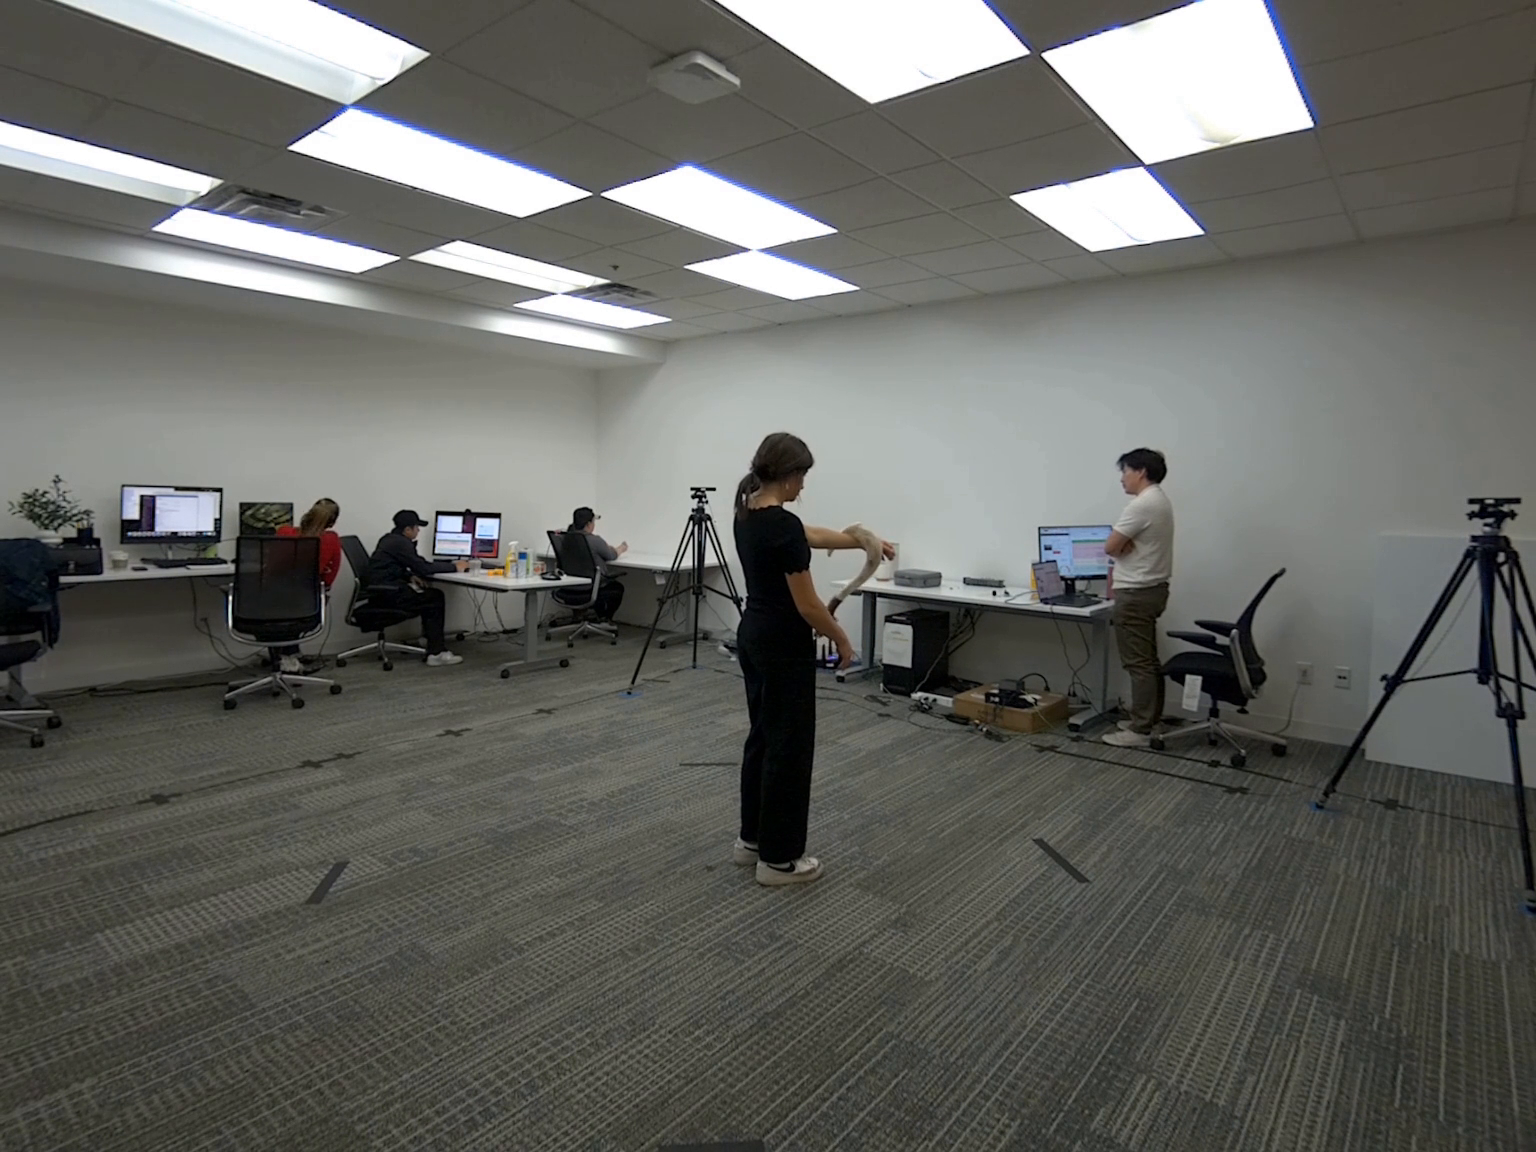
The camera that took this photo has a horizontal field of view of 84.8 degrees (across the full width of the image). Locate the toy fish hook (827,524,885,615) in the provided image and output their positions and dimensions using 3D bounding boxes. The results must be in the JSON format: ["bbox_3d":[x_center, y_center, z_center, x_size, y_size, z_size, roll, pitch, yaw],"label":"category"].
[{"bbox_3d":[0.274,0.012,3.426,0.233,0.503,0.047,43,24,30],"label":"toy fish hook"}]
